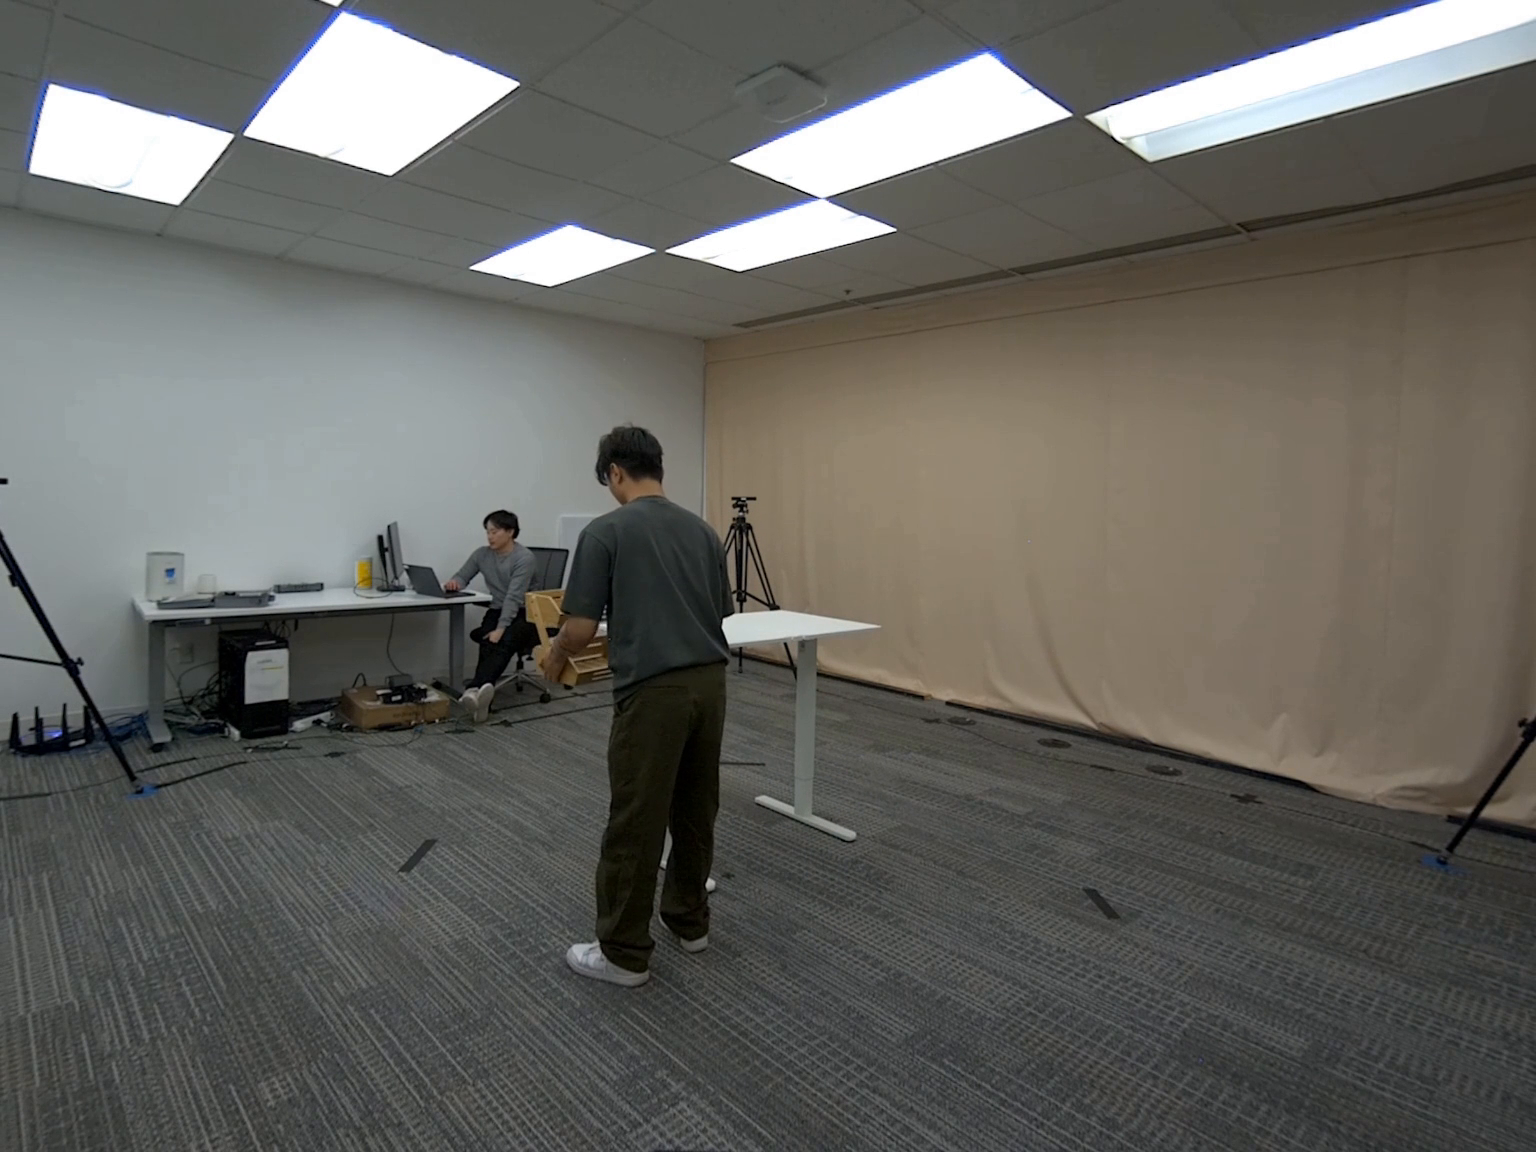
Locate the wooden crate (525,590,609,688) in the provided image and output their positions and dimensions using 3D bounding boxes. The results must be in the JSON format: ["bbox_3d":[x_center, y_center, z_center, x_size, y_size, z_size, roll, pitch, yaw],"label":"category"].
[{"bbox_3d":[-0.579,0.182,2.733,0.317,0.272,0.310,-6,7,-44],"label":"wooden crate"}]
